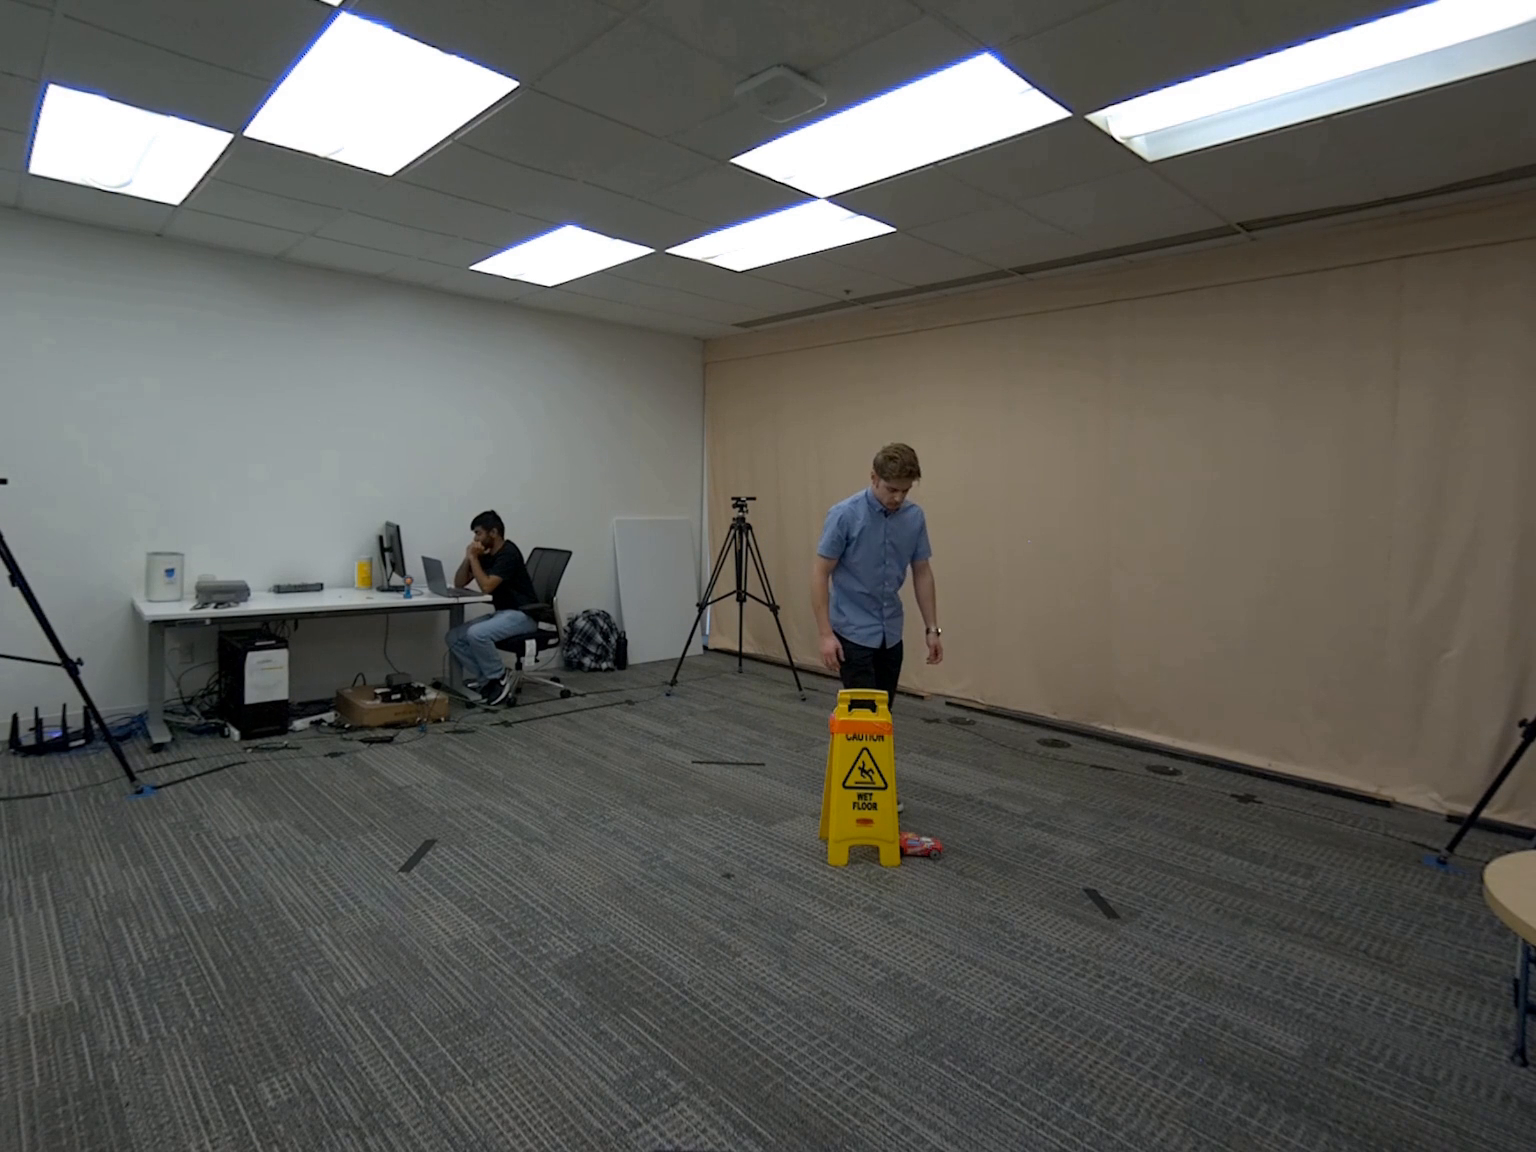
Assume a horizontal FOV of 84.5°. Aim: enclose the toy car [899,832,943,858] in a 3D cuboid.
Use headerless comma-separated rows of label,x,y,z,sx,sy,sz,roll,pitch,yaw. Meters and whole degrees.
toy car,0.555,1.074,3.355,0.255,0.083,0.130,12,6,2
